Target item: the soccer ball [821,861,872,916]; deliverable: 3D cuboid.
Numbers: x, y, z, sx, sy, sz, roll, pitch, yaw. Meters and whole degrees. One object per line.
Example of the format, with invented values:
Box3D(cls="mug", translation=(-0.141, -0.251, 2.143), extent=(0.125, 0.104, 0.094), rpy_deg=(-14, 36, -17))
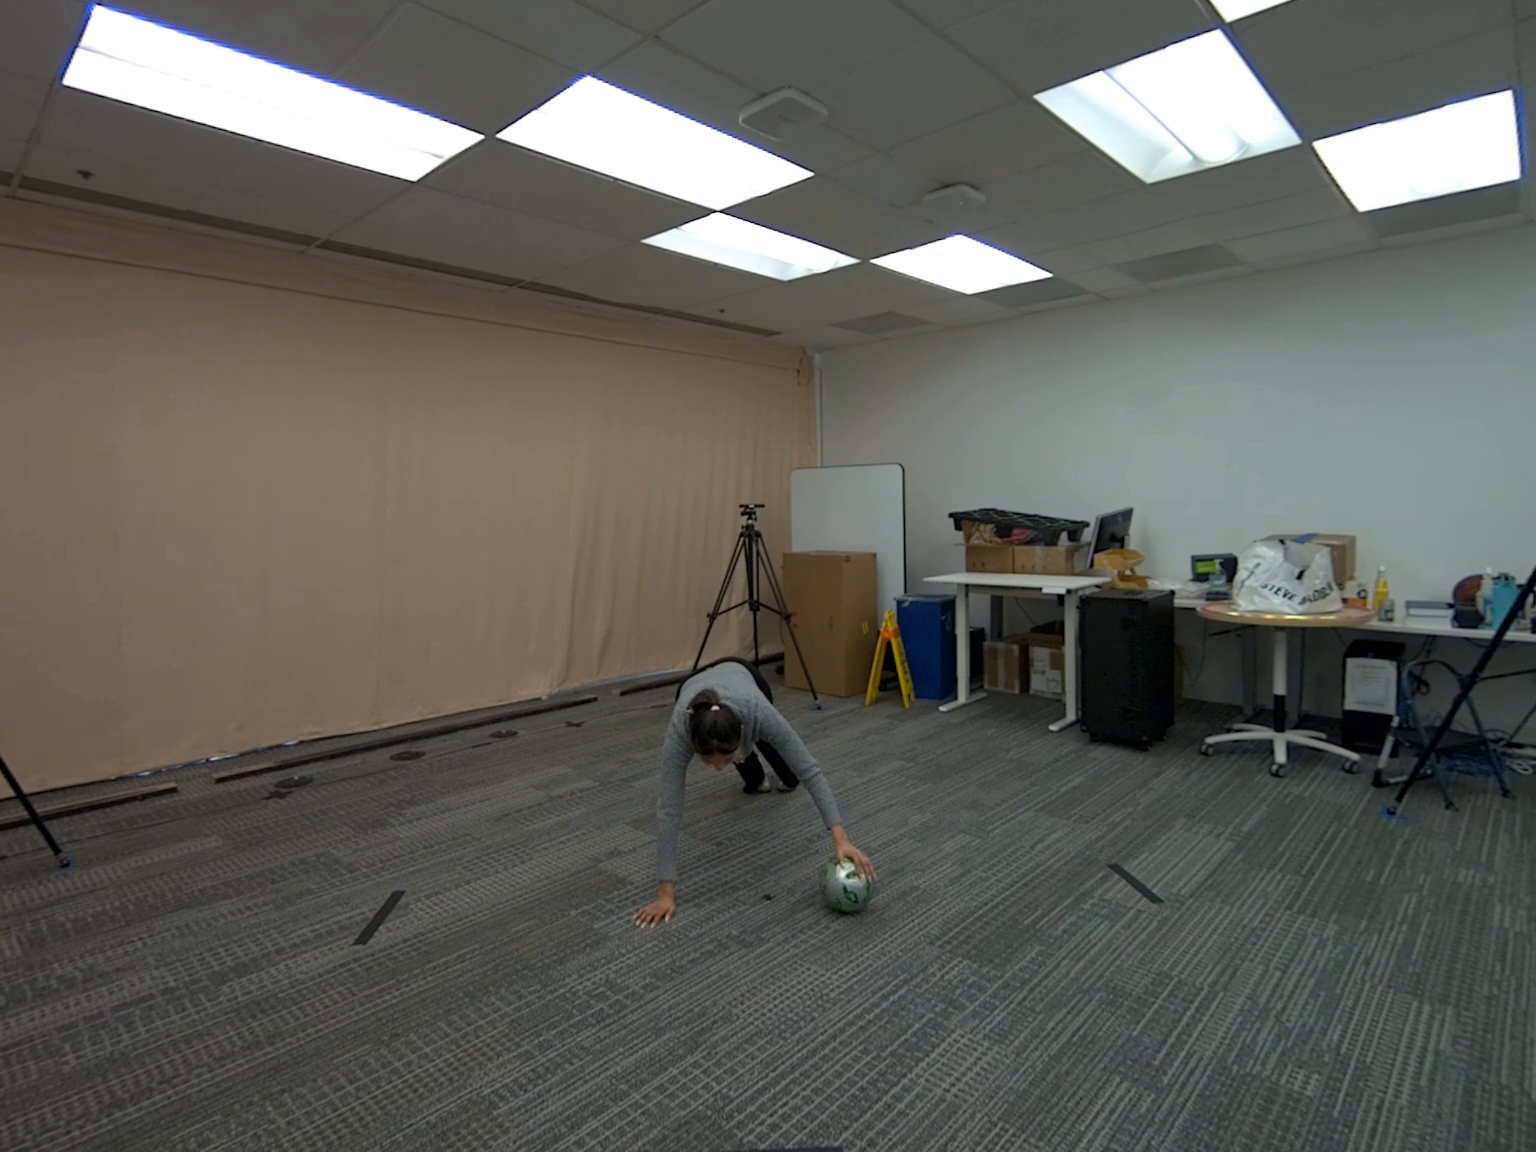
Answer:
Box3D(cls="soccer ball", translation=(0.274, 1.050, 2.888), extent=(0.187, 0.187, 0.188), rpy_deg=(-1, 4, -2))
